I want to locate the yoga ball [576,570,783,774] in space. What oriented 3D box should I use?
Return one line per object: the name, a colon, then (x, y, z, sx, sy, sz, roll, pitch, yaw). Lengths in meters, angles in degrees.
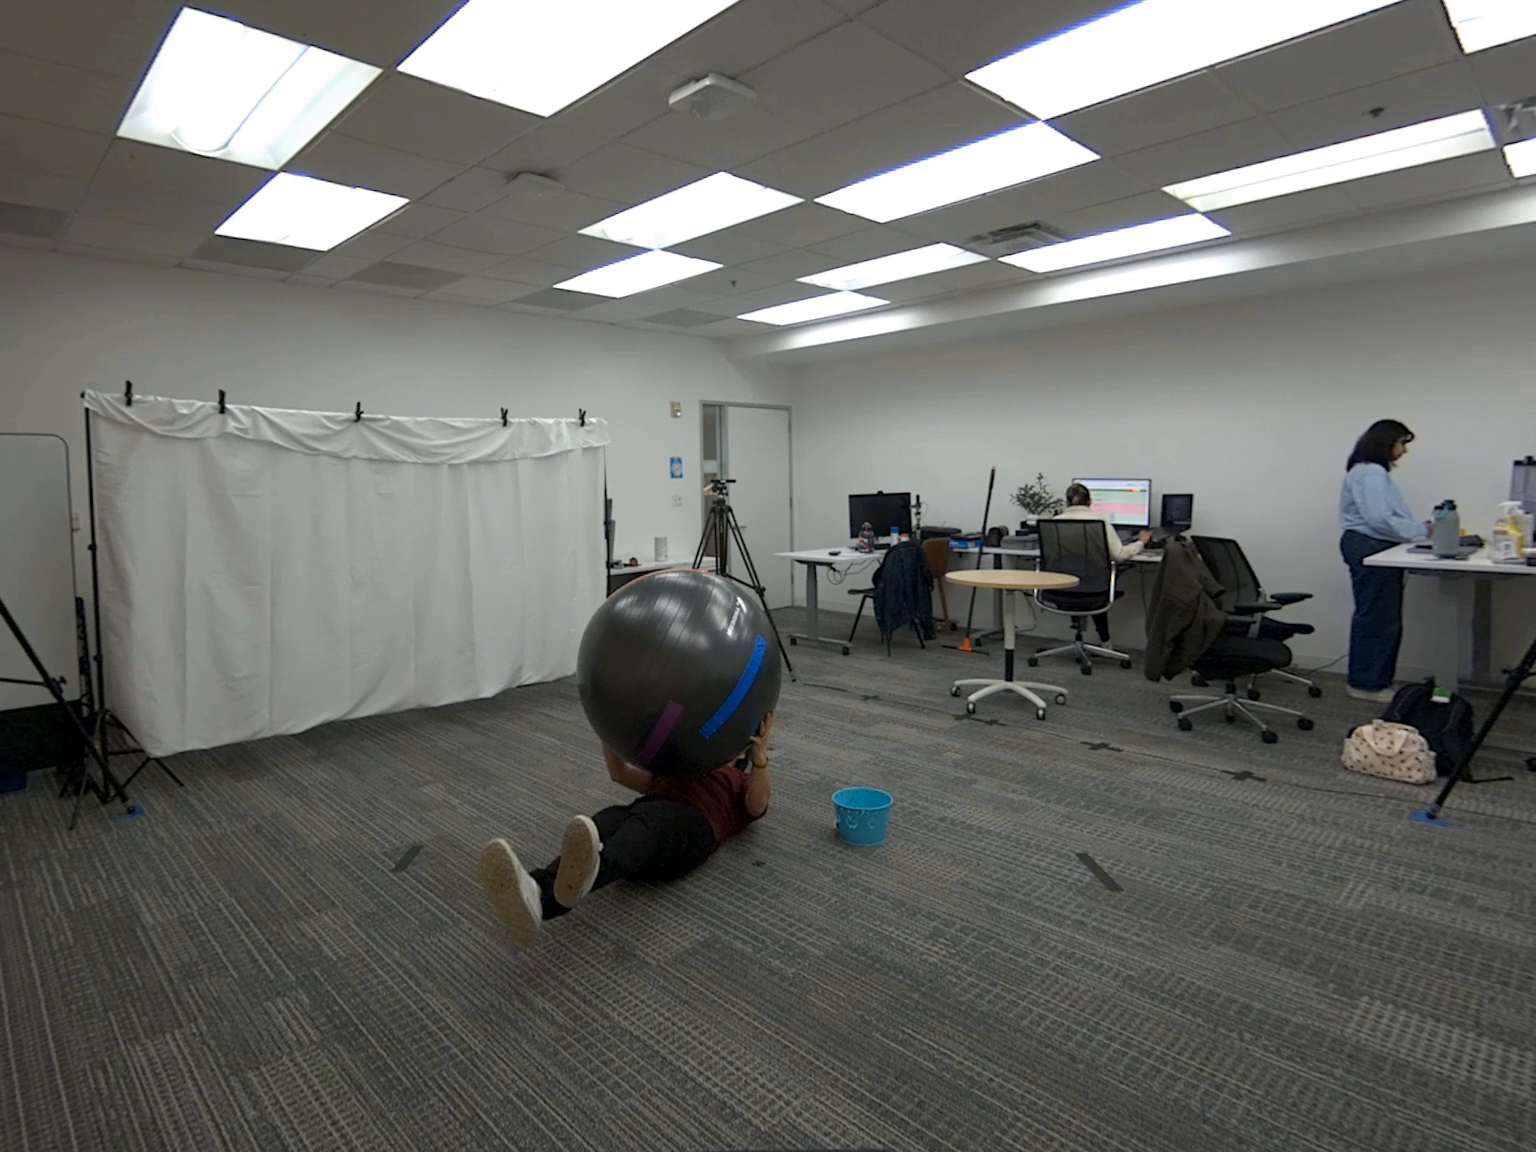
yoga ball: (-0.327, 0.352, 3.185, 0.757, 0.755, 0.762, -1, 5, -2)
